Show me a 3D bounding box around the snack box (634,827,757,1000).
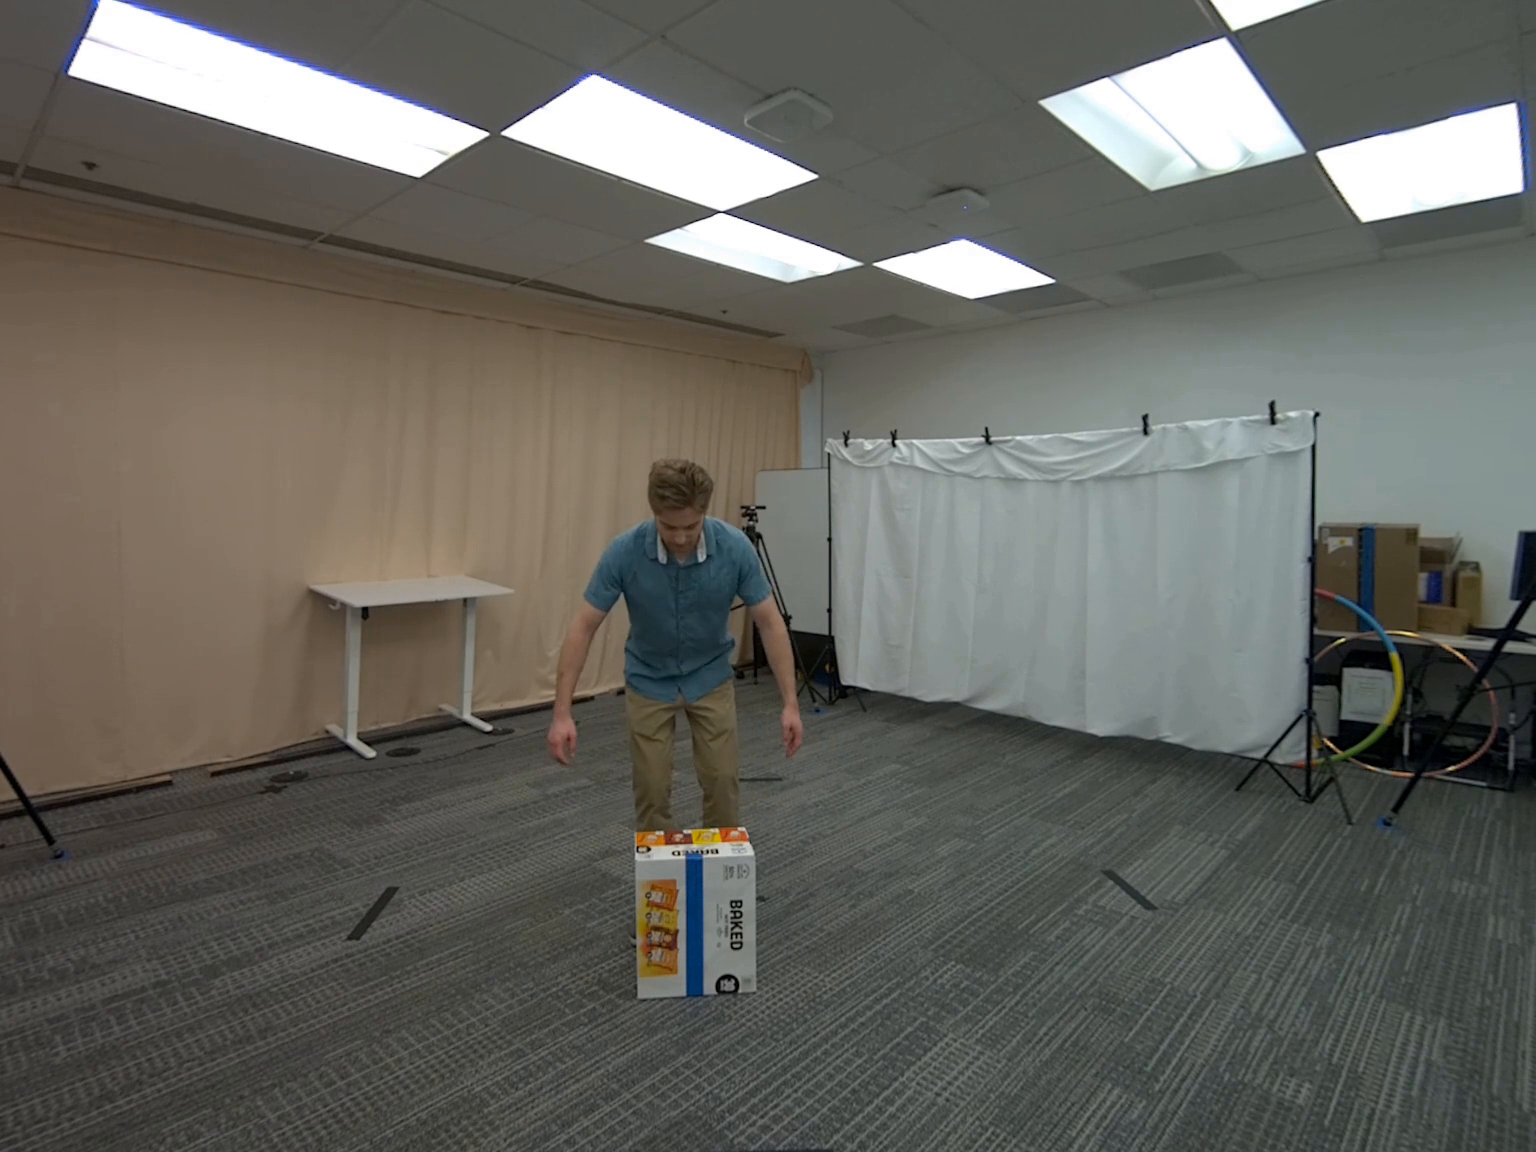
[{"bbox_3d":[-0.212,0.984,2.483,0.338,0.404,0.207,-1,2,-7],"label":"snack box"}]
